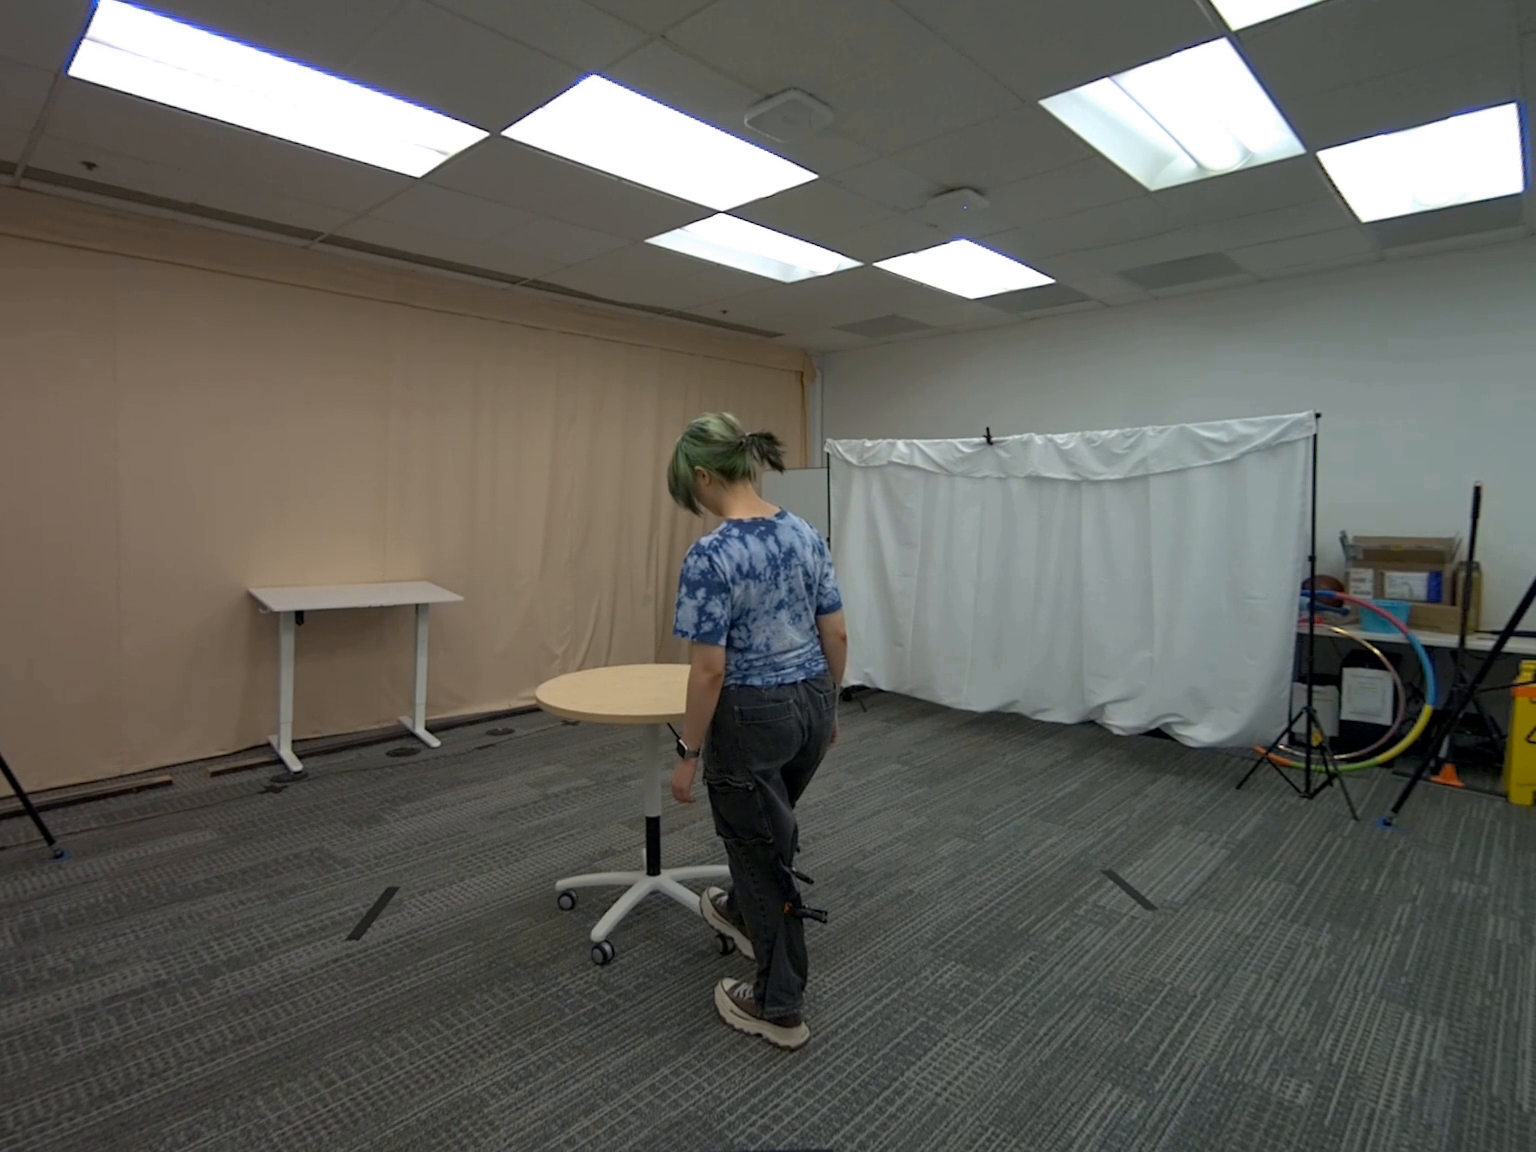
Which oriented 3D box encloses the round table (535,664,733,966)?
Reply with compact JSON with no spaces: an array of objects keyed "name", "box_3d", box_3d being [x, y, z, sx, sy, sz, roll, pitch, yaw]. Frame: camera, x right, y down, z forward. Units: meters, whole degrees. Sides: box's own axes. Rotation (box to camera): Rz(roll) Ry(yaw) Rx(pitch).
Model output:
[{"name":"round table","box_3d":[-0.393,0.769,2.857,0.763,0.792,0.766,-1,4,-2]}]
